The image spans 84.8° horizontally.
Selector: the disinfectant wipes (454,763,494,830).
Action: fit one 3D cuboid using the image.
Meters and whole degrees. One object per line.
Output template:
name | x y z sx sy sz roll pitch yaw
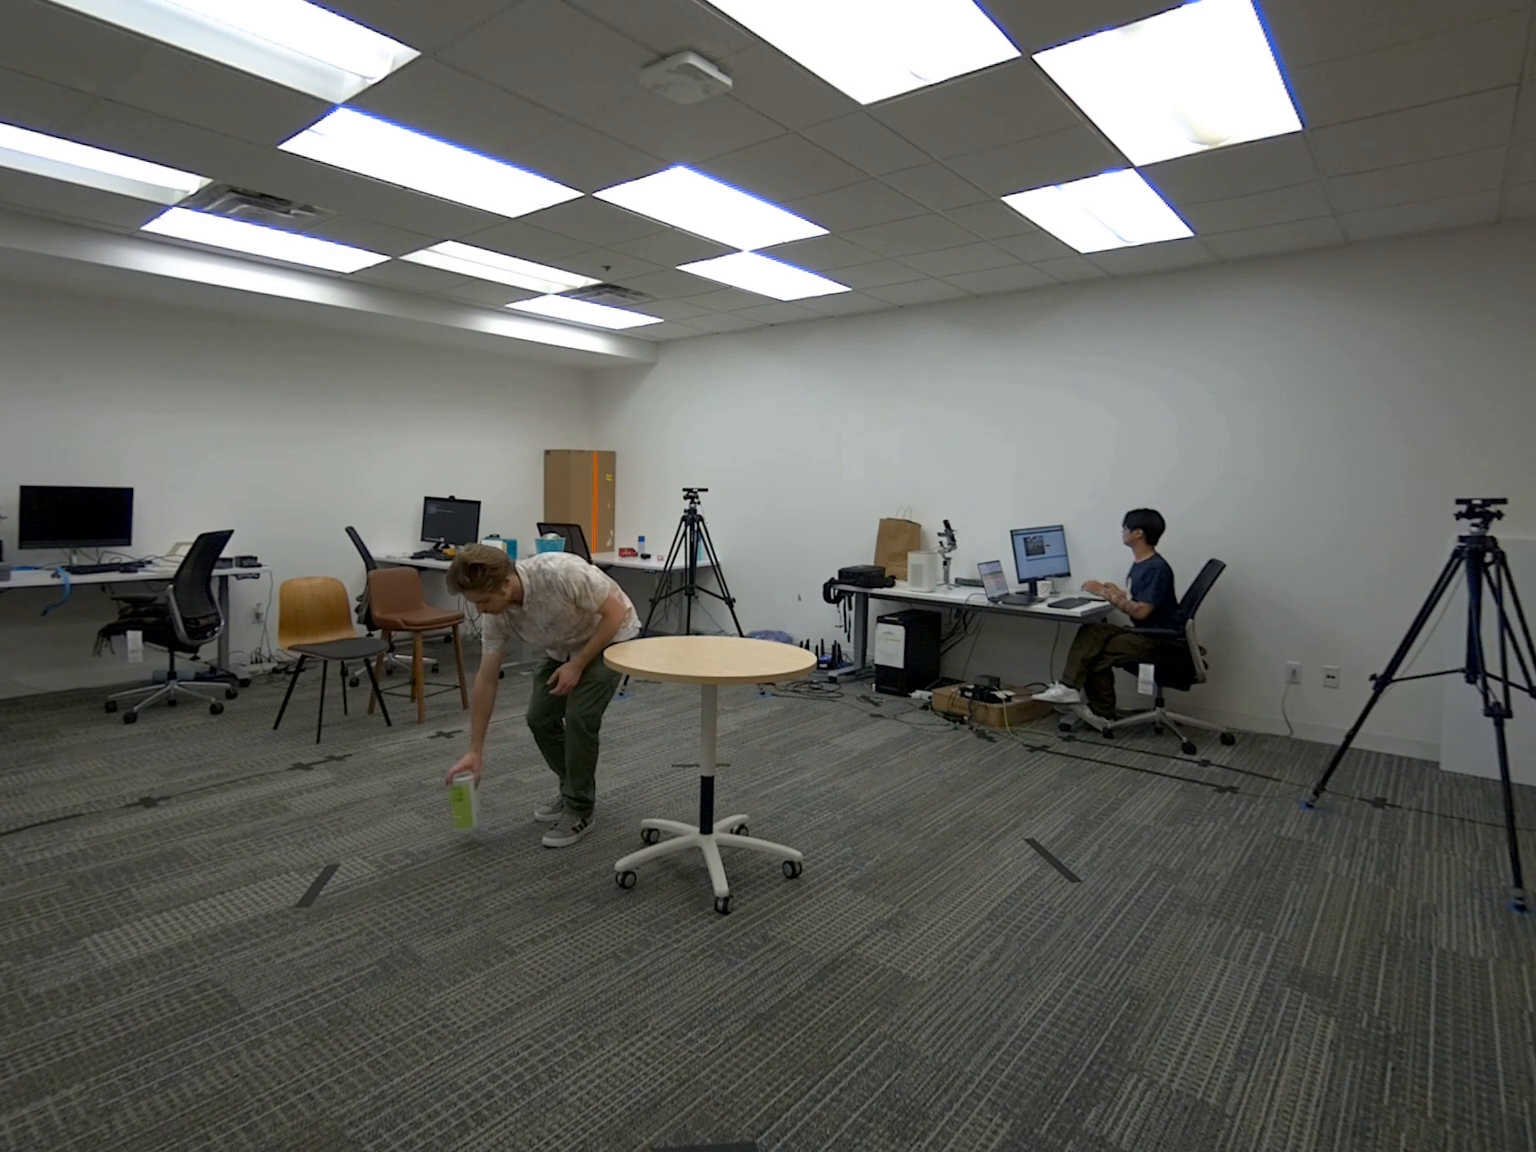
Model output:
disinfectant wipes | -1.150 0.856 3.286 0.118 0.217 0.118 1 4 -2
